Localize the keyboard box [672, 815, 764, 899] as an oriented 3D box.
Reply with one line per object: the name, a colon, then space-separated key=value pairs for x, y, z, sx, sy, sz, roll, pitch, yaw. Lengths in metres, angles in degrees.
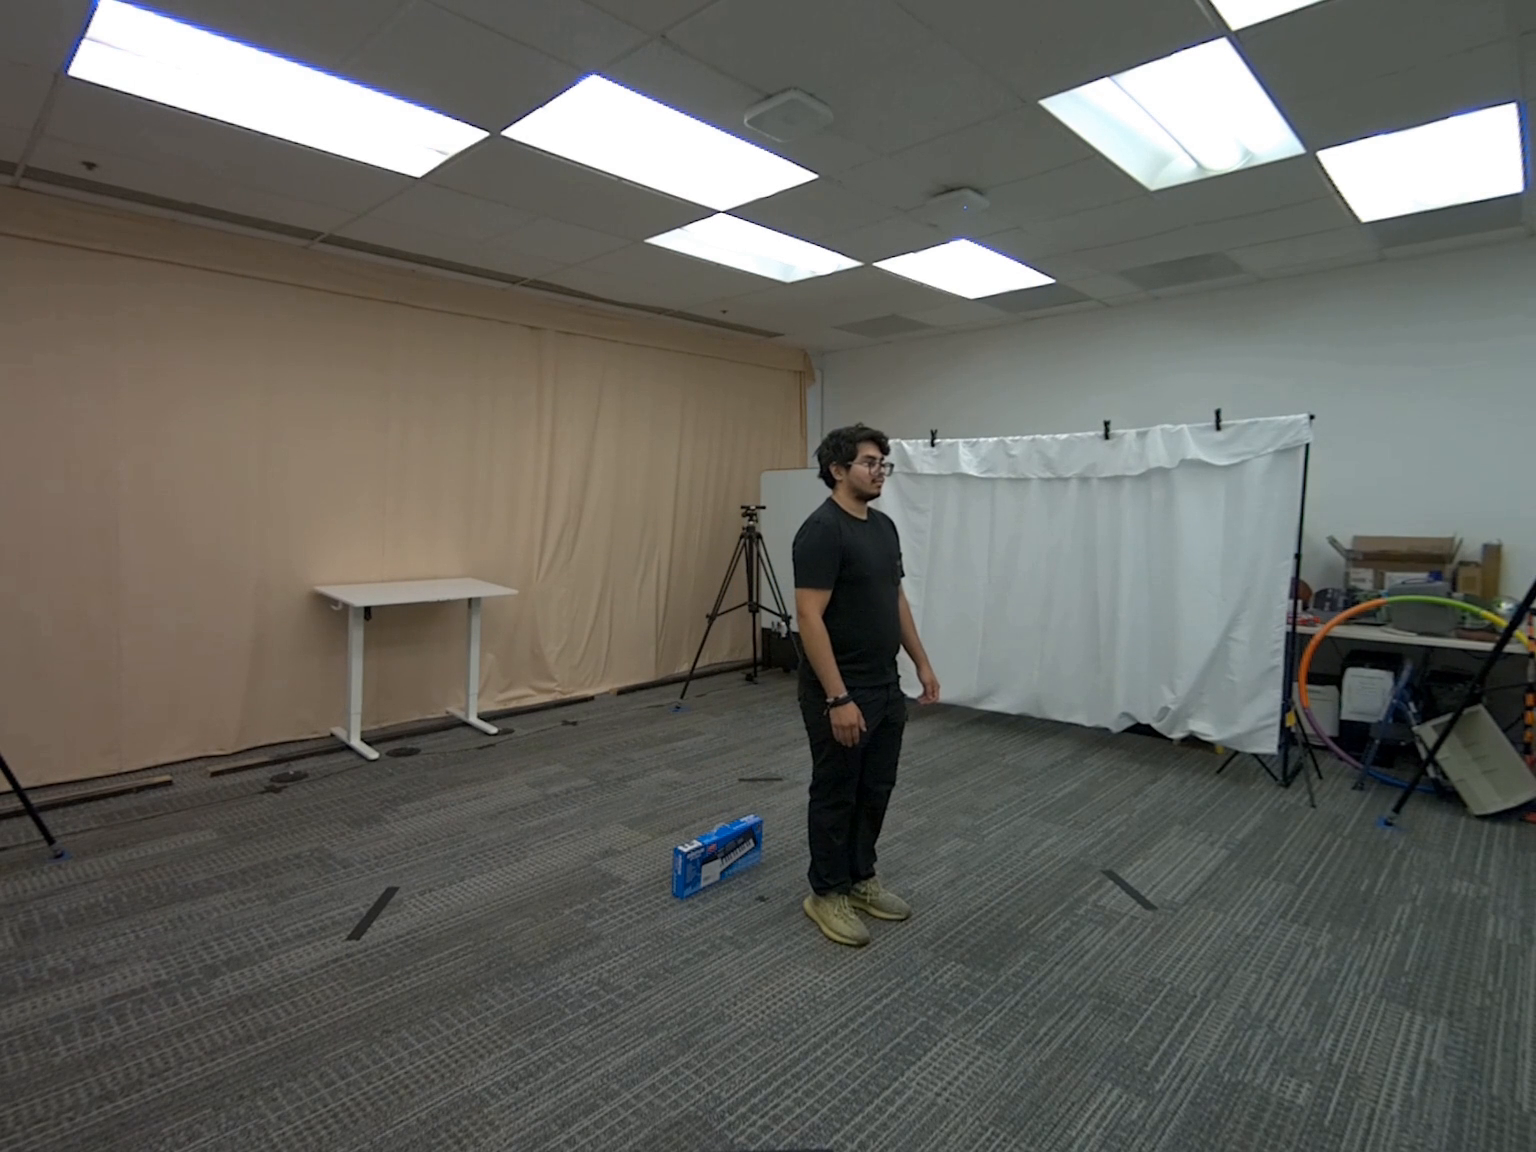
keyboard box: x=-0.183 y=1.044 z=3.148 sx=0.061 sy=0.175 sz=0.424 roll=8 pitch=9 yaw=40
